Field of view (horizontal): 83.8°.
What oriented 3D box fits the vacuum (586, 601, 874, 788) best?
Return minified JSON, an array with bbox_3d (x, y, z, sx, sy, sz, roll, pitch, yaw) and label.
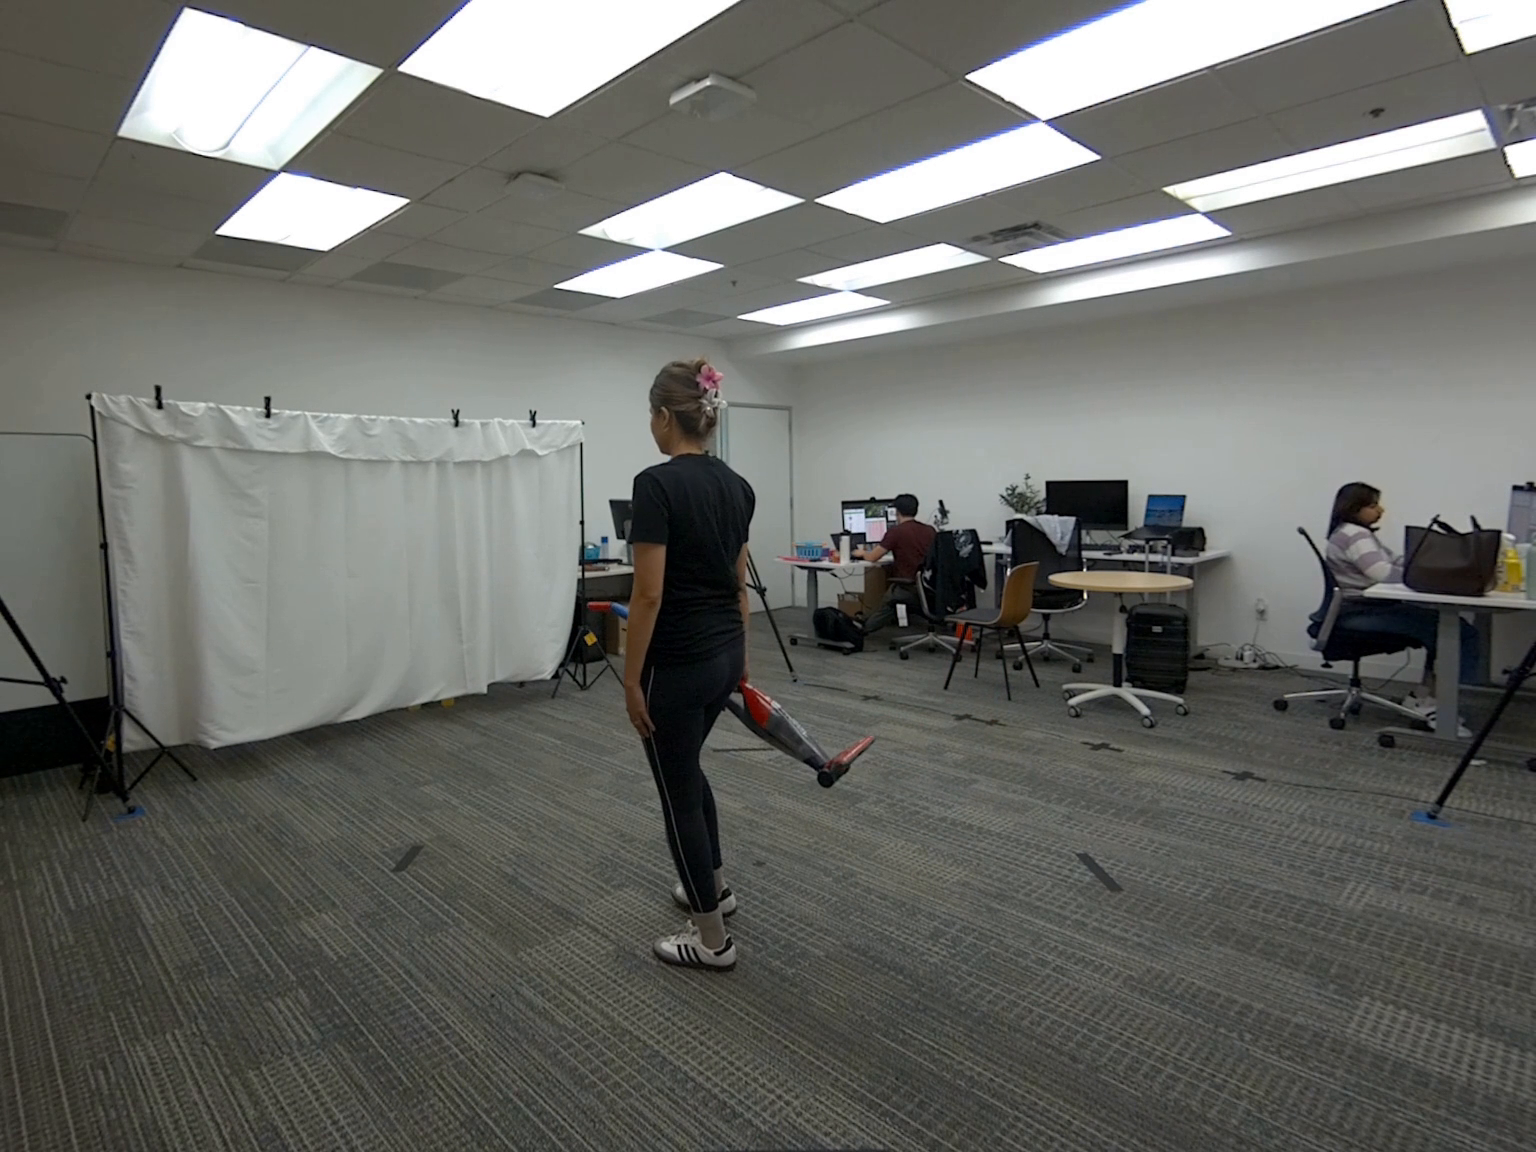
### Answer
[{"bbox_3d":[-0.180,0.335,2.771,1.083,0.142,0.247,29,22,27],"label":"vacuum"}]
